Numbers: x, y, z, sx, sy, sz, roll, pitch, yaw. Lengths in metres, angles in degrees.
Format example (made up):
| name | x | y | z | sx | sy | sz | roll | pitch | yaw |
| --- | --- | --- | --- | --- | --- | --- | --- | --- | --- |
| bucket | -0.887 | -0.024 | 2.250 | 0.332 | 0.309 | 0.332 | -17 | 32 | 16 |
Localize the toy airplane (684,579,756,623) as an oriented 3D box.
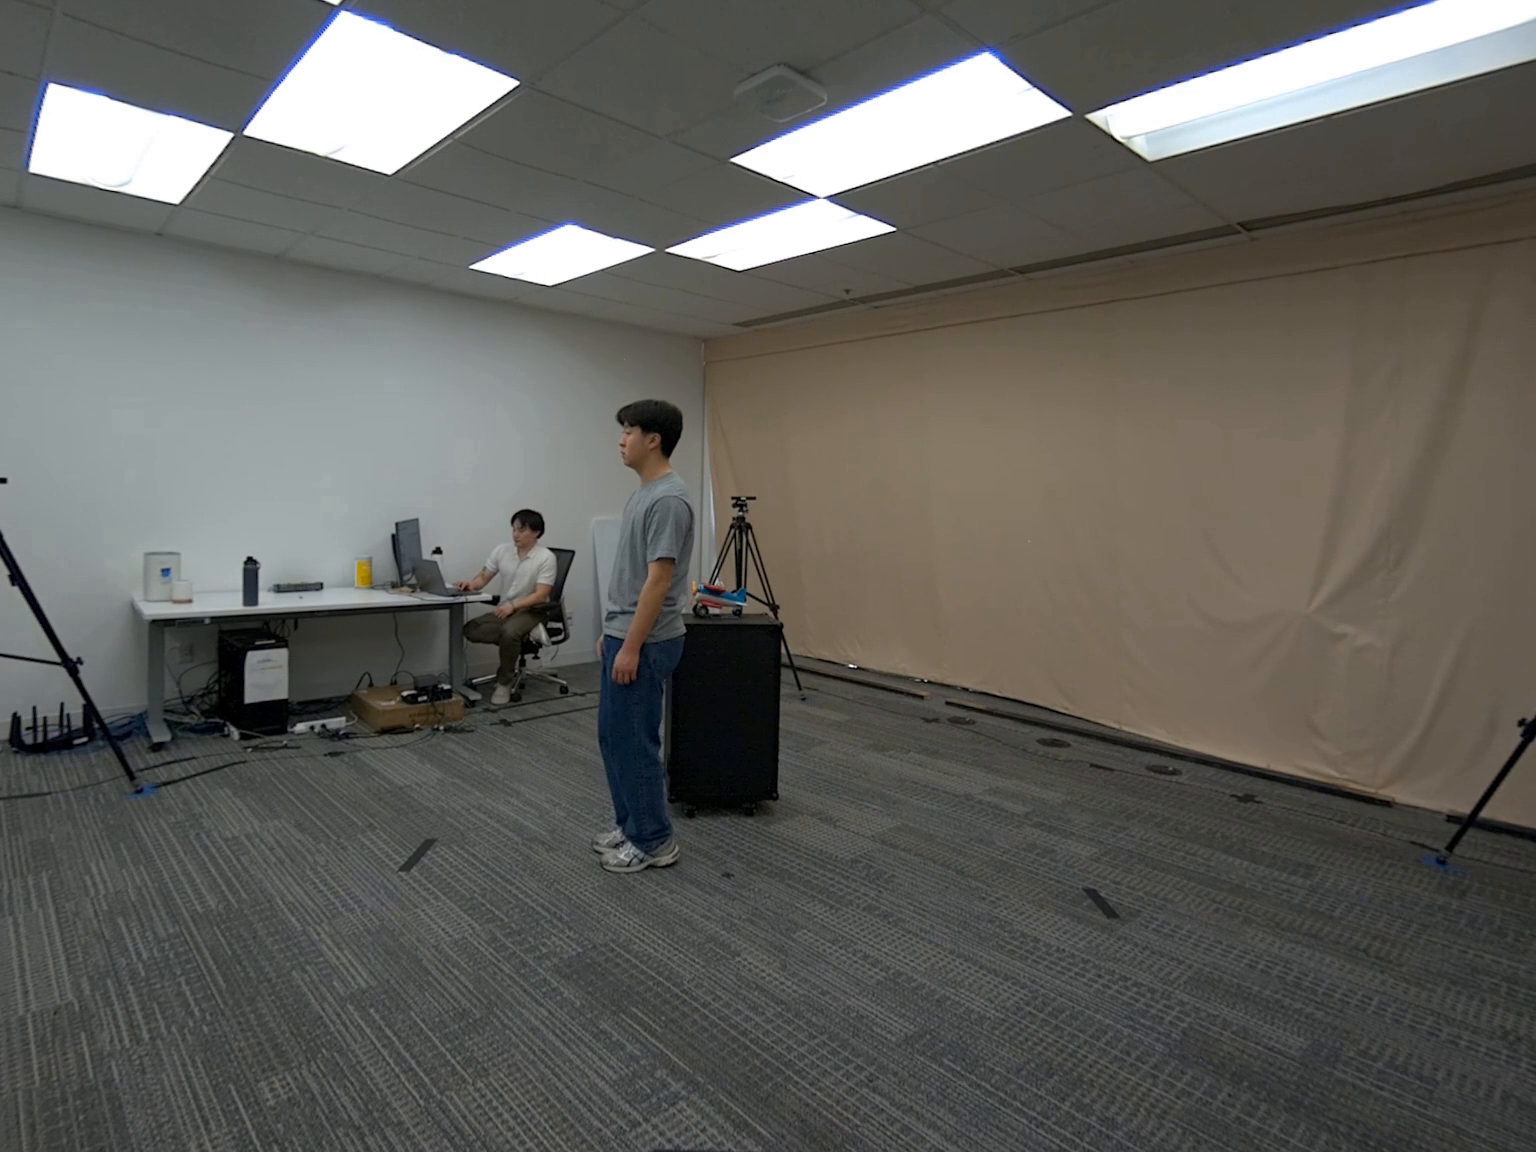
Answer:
| name | x | y | z | sx | sy | sz | roll | pitch | yaw |
| --- | --- | --- | --- | --- | --- | --- | --- | --- | --- |
| toy airplane | -0.242 | 0.109 | 3.916 | 0.257 | 0.156 | 0.253 | 6 | 7 | 45 |
